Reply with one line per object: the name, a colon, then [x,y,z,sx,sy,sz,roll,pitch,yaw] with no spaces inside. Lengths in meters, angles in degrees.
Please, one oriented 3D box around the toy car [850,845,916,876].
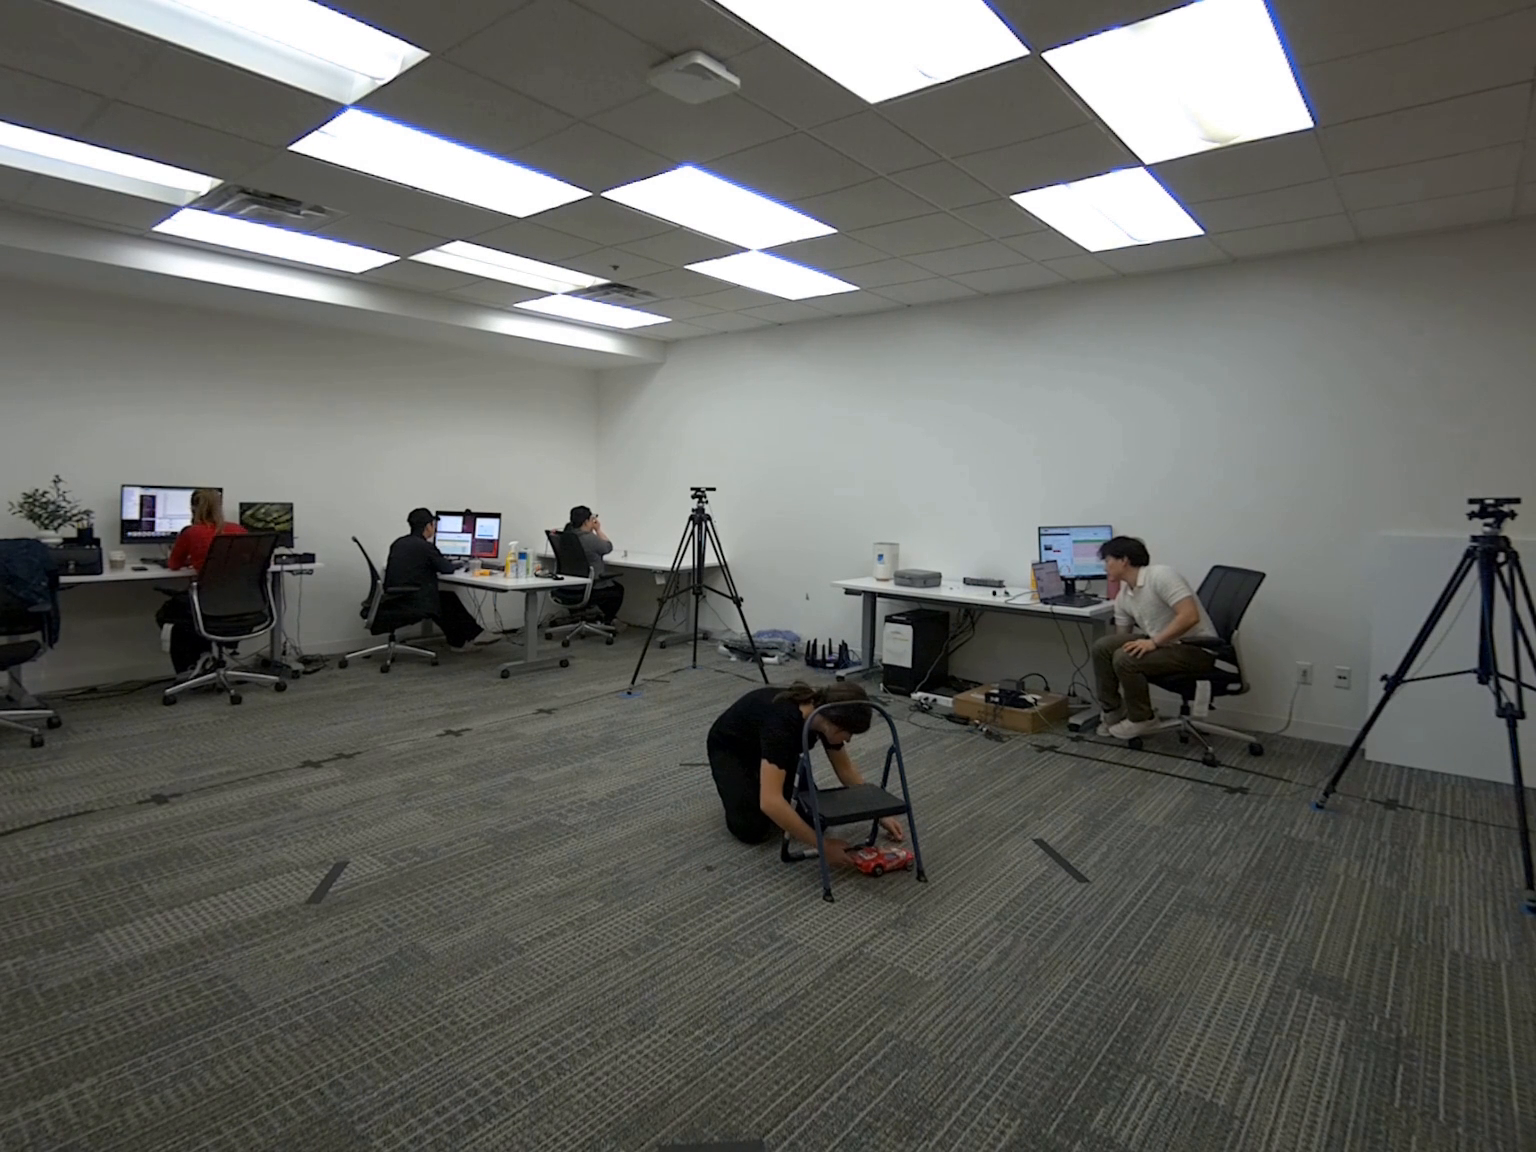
toy car: [0.408,1.055,3.133,0.248,0.083,0.134,11,1,-25]
